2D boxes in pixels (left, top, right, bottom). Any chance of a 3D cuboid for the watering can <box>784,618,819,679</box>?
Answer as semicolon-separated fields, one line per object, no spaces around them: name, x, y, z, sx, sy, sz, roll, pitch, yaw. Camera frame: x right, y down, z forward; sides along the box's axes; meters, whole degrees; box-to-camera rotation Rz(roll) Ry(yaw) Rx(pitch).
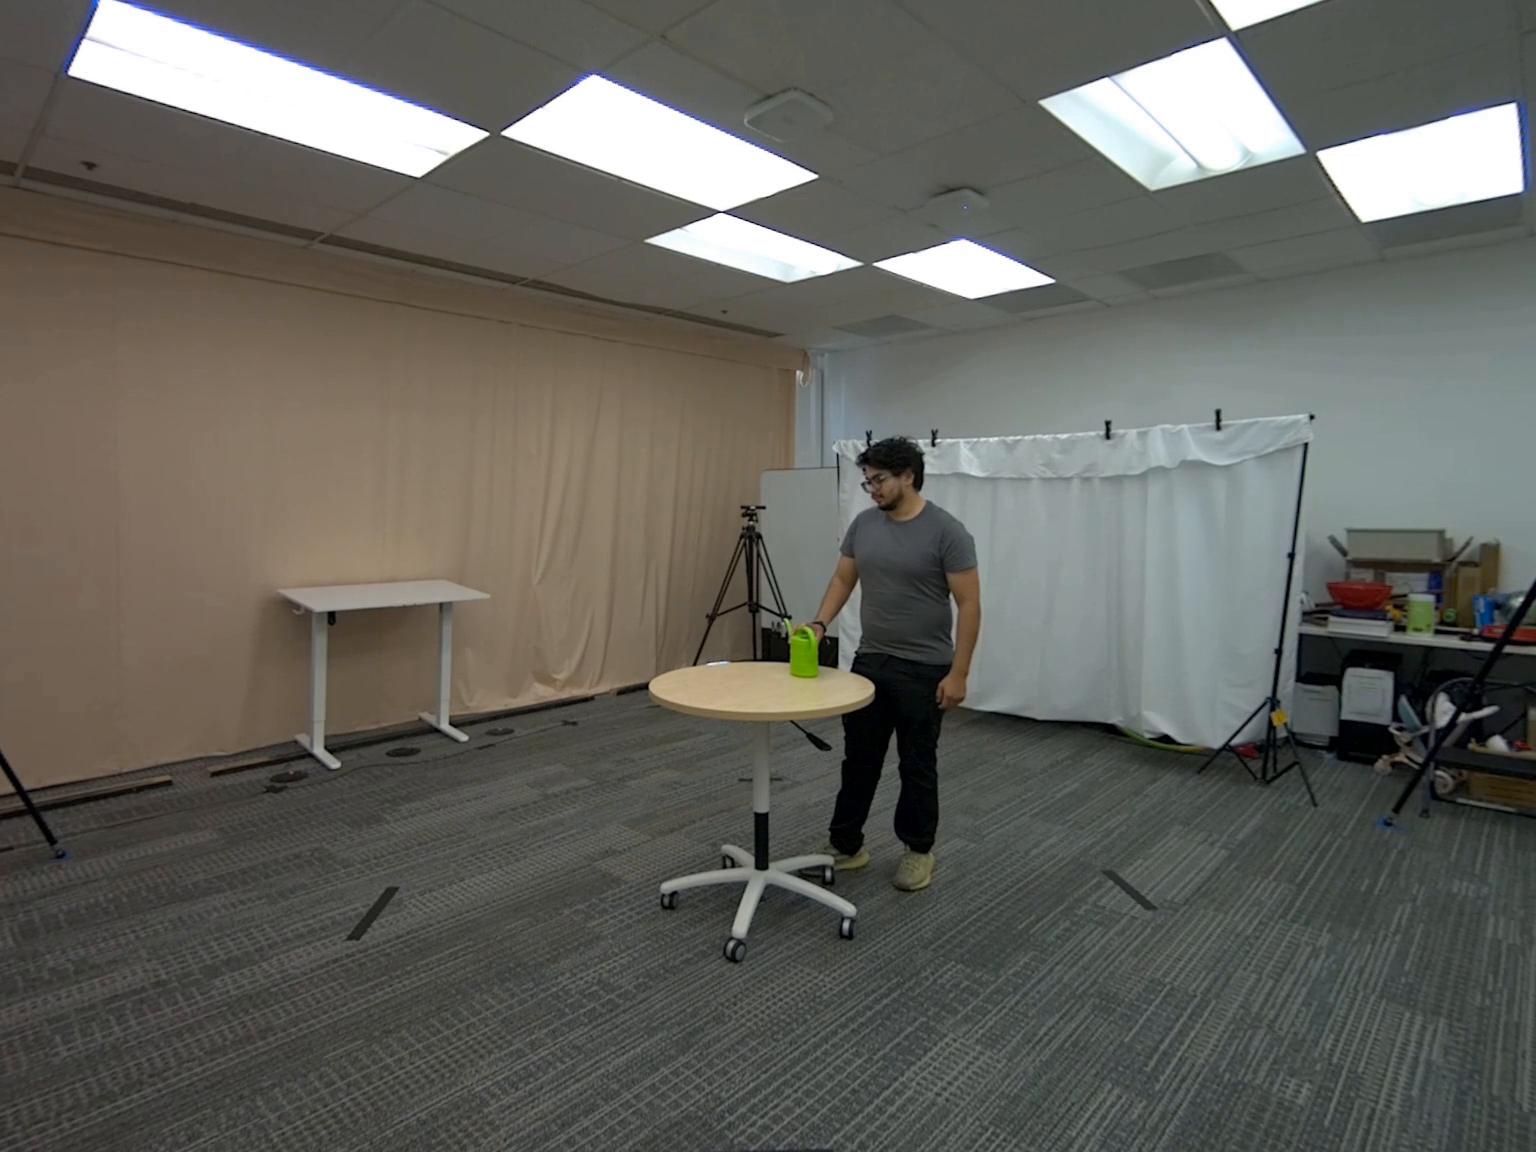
watering can;0.129;0.268;3.071;0.097;0.176;0.281;0;7;-8
